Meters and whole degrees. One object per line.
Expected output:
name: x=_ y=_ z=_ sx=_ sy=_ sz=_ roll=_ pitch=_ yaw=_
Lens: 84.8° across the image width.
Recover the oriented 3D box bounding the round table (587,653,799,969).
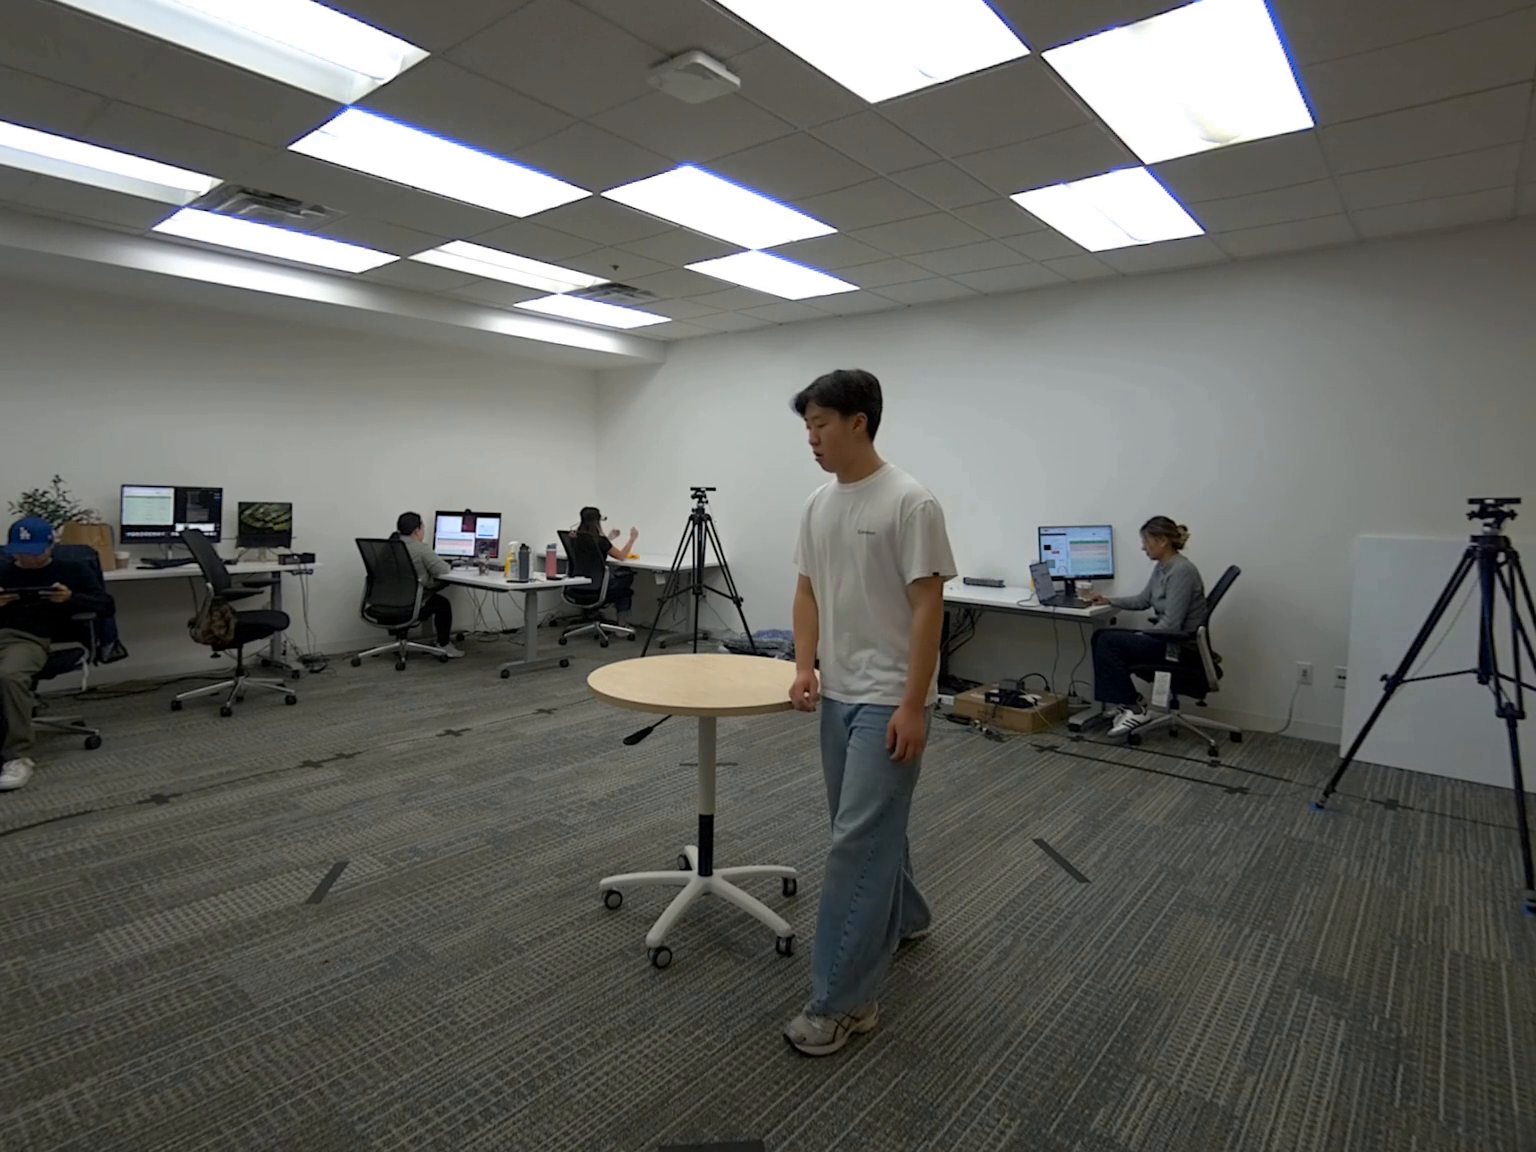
round table: x=-0.214 y=0.714 z=2.743 sx=0.763 sy=0.791 sz=0.768 roll=1 pitch=4 yaw=-2
